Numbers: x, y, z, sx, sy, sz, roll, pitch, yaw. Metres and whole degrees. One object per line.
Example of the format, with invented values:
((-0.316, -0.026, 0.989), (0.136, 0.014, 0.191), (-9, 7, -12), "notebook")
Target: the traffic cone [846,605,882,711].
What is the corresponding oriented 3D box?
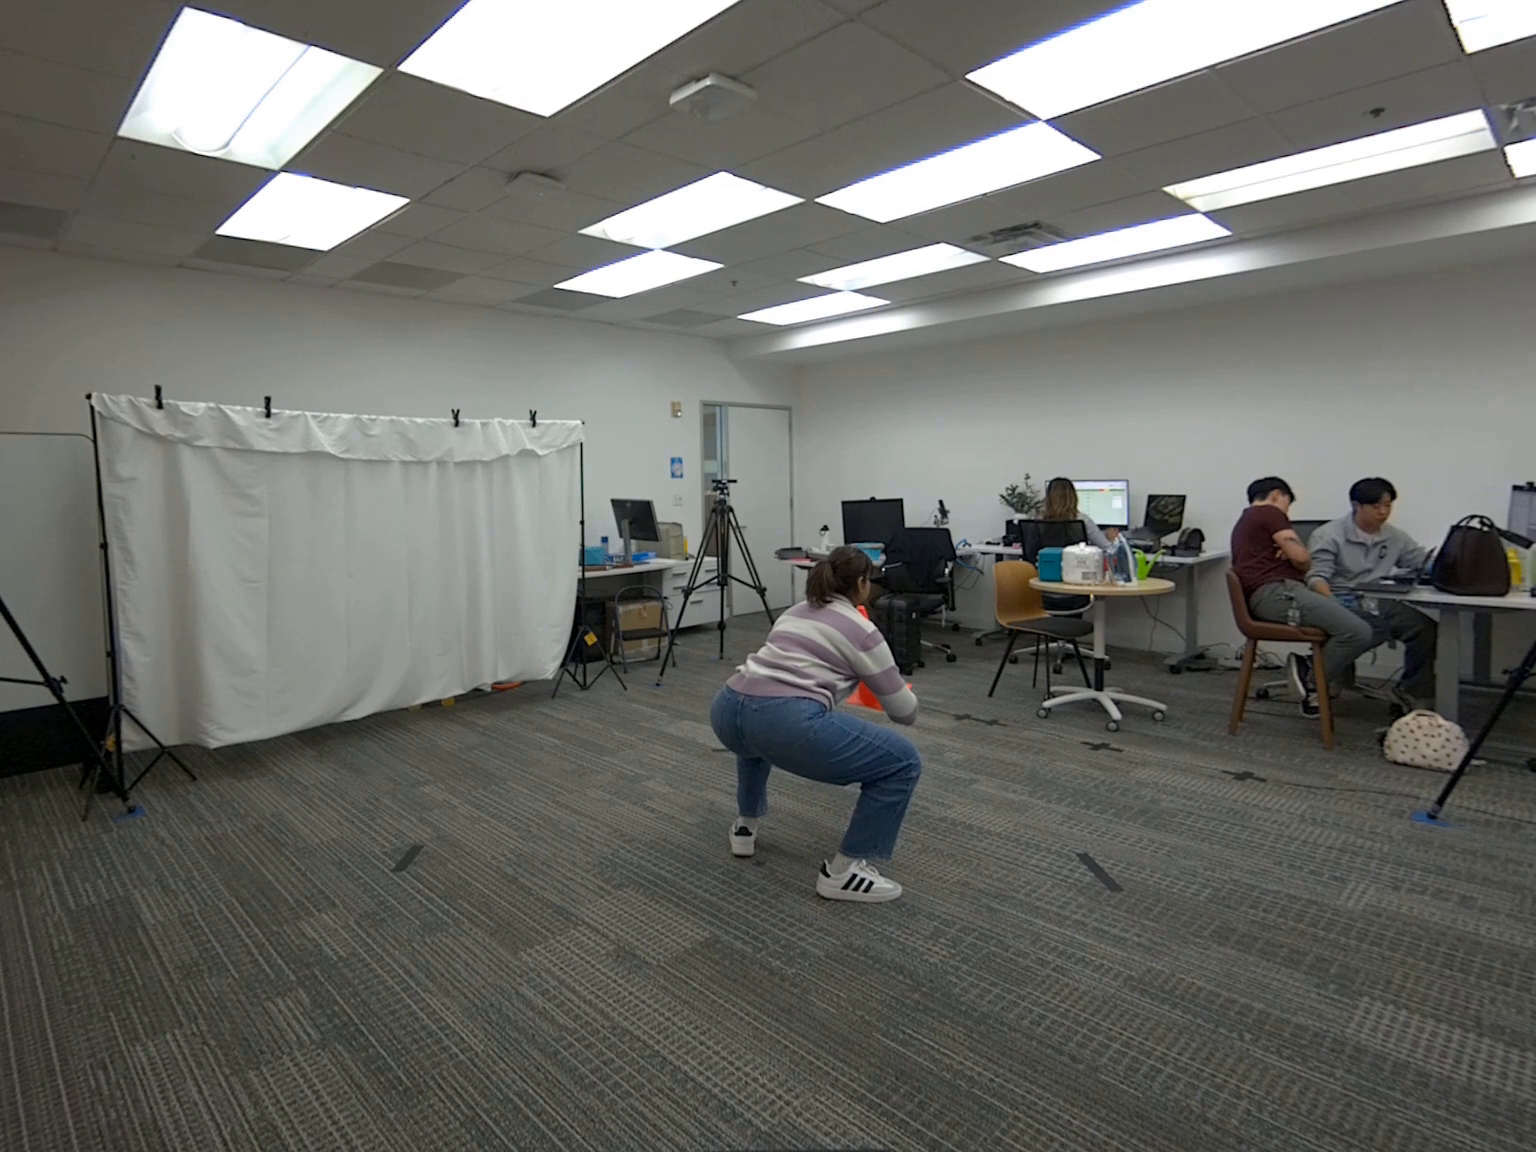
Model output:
((0.392, 0.301, 3.336), (0.200, 0.377, 0.211), (-26, 20, -35), "traffic cone")
